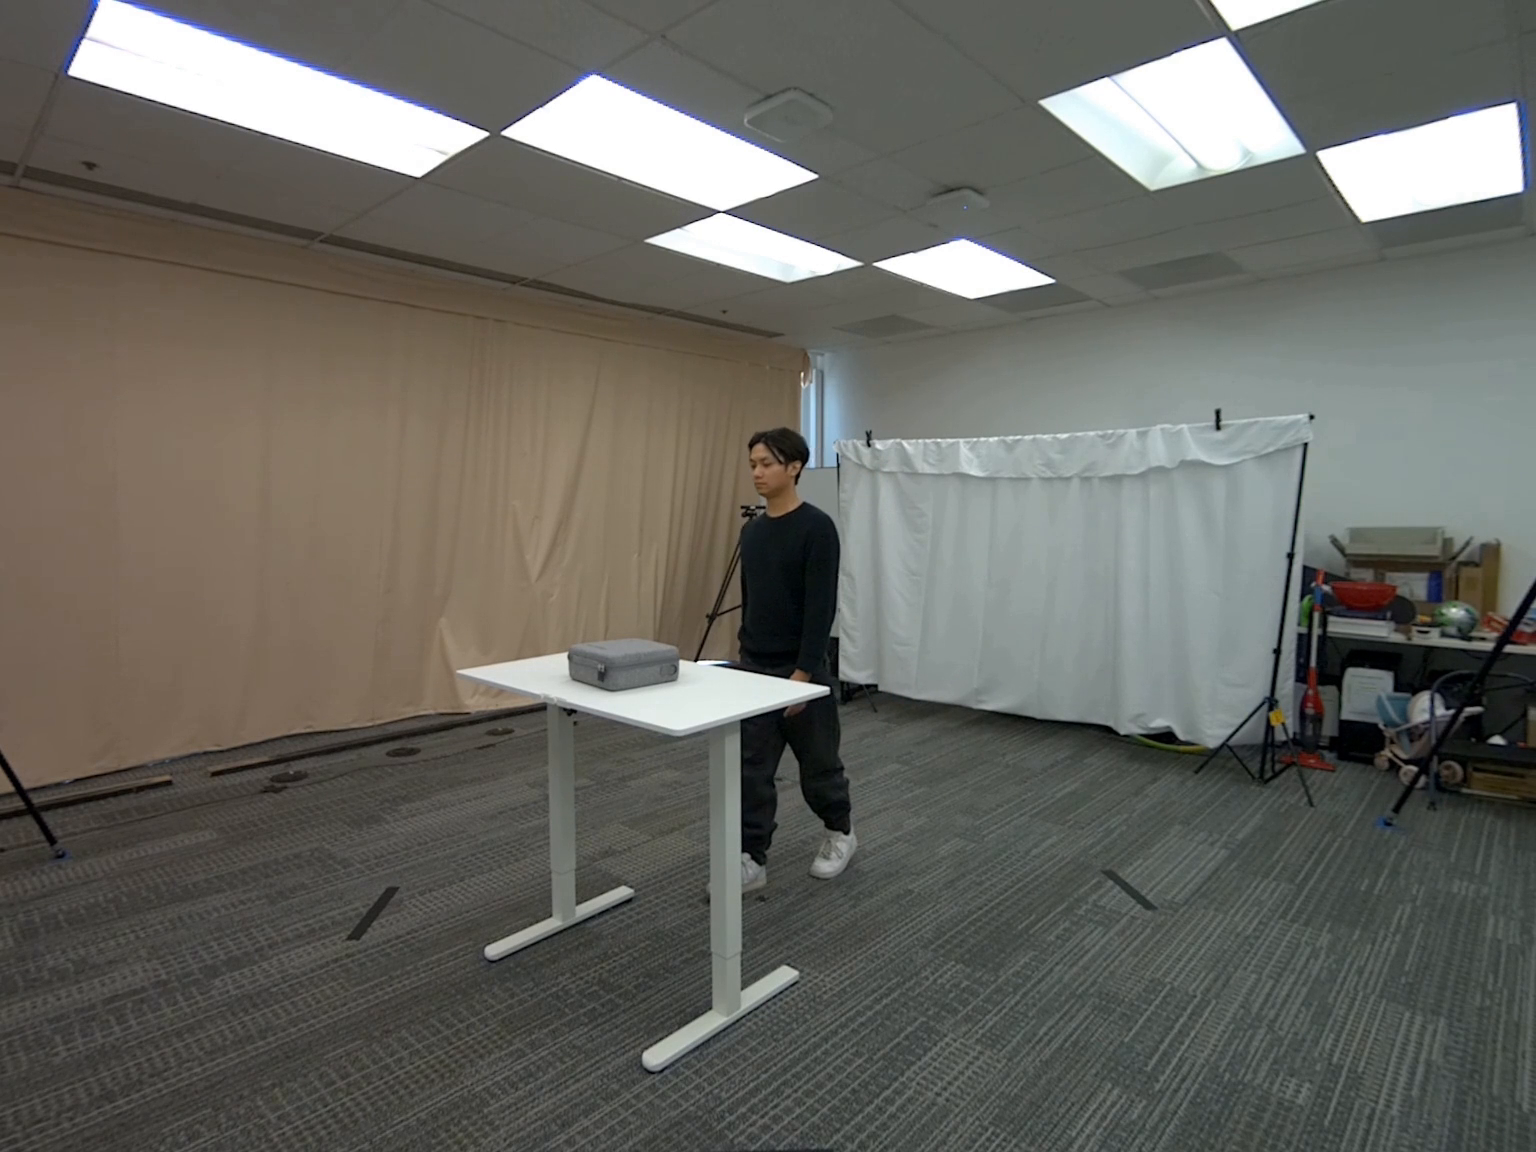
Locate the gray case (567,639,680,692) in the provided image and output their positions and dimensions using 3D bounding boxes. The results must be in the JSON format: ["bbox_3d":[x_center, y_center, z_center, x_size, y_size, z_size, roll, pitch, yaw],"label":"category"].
[{"bbox_3d":[-0.427,0.255,2.476,0.252,0.104,0.265,-4,6,-43],"label":"gray case"}]
